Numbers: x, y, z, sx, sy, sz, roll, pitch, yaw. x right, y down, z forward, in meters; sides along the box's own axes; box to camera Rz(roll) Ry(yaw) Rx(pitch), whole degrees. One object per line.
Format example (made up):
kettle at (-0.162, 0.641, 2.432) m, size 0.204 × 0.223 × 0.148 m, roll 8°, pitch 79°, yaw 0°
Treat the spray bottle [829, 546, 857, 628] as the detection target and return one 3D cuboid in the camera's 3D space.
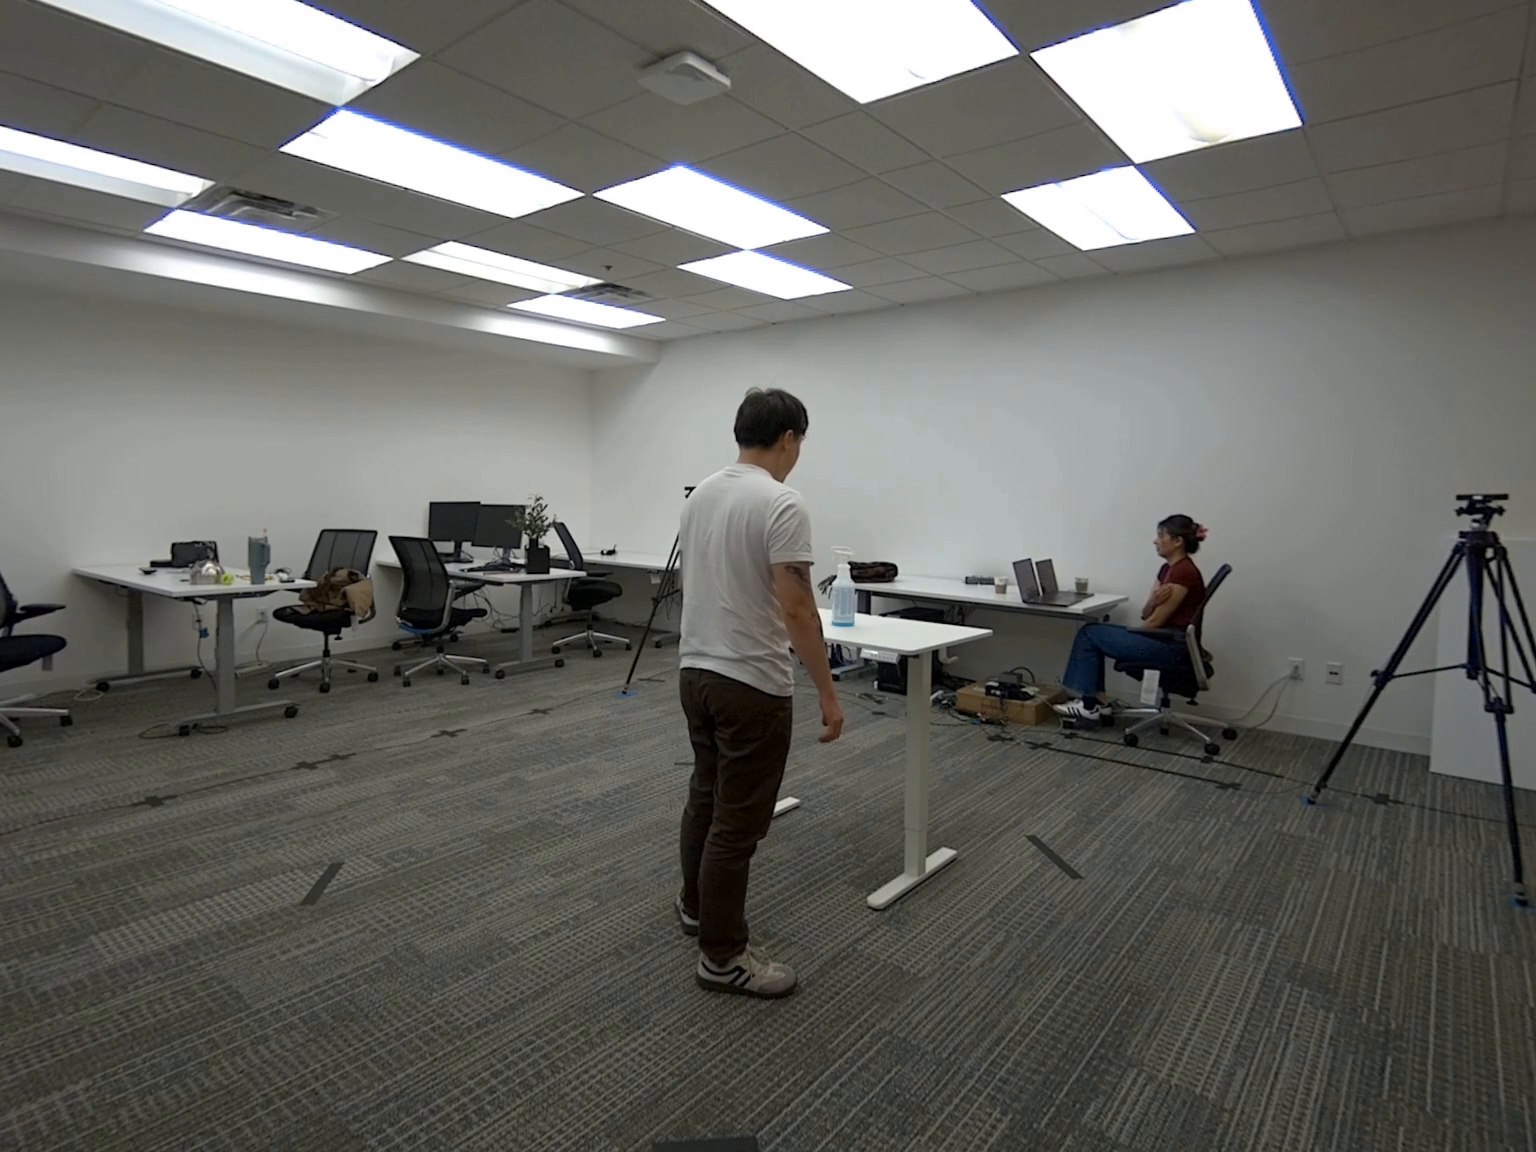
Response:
spray bottle at (0.275, 0.038, 3.204) m, size 0.092 × 0.296 × 0.085 m, roll 0°, pitch 4°, yaw 19°
